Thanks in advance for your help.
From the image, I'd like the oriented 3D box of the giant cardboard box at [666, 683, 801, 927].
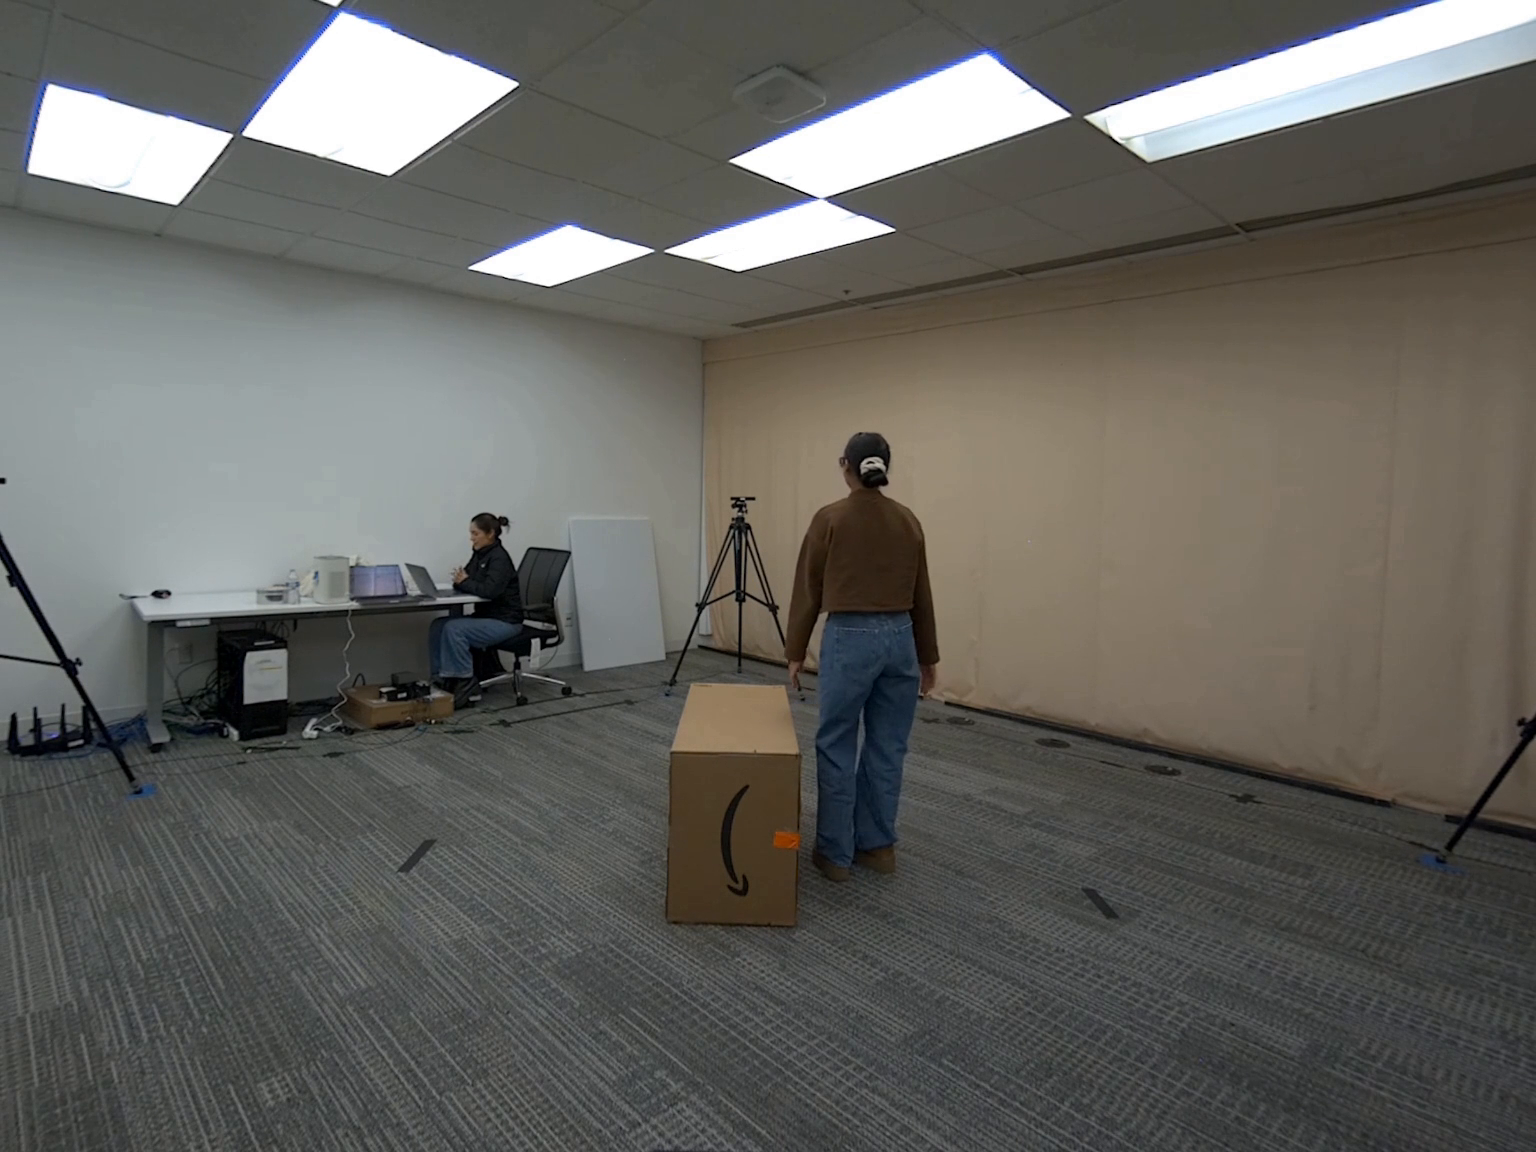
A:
[{"bbox_3d":[-0.128,0.811,3.234,0.447,0.582,1.030,0,5,-1],"label":"giant cardboard box"}]
